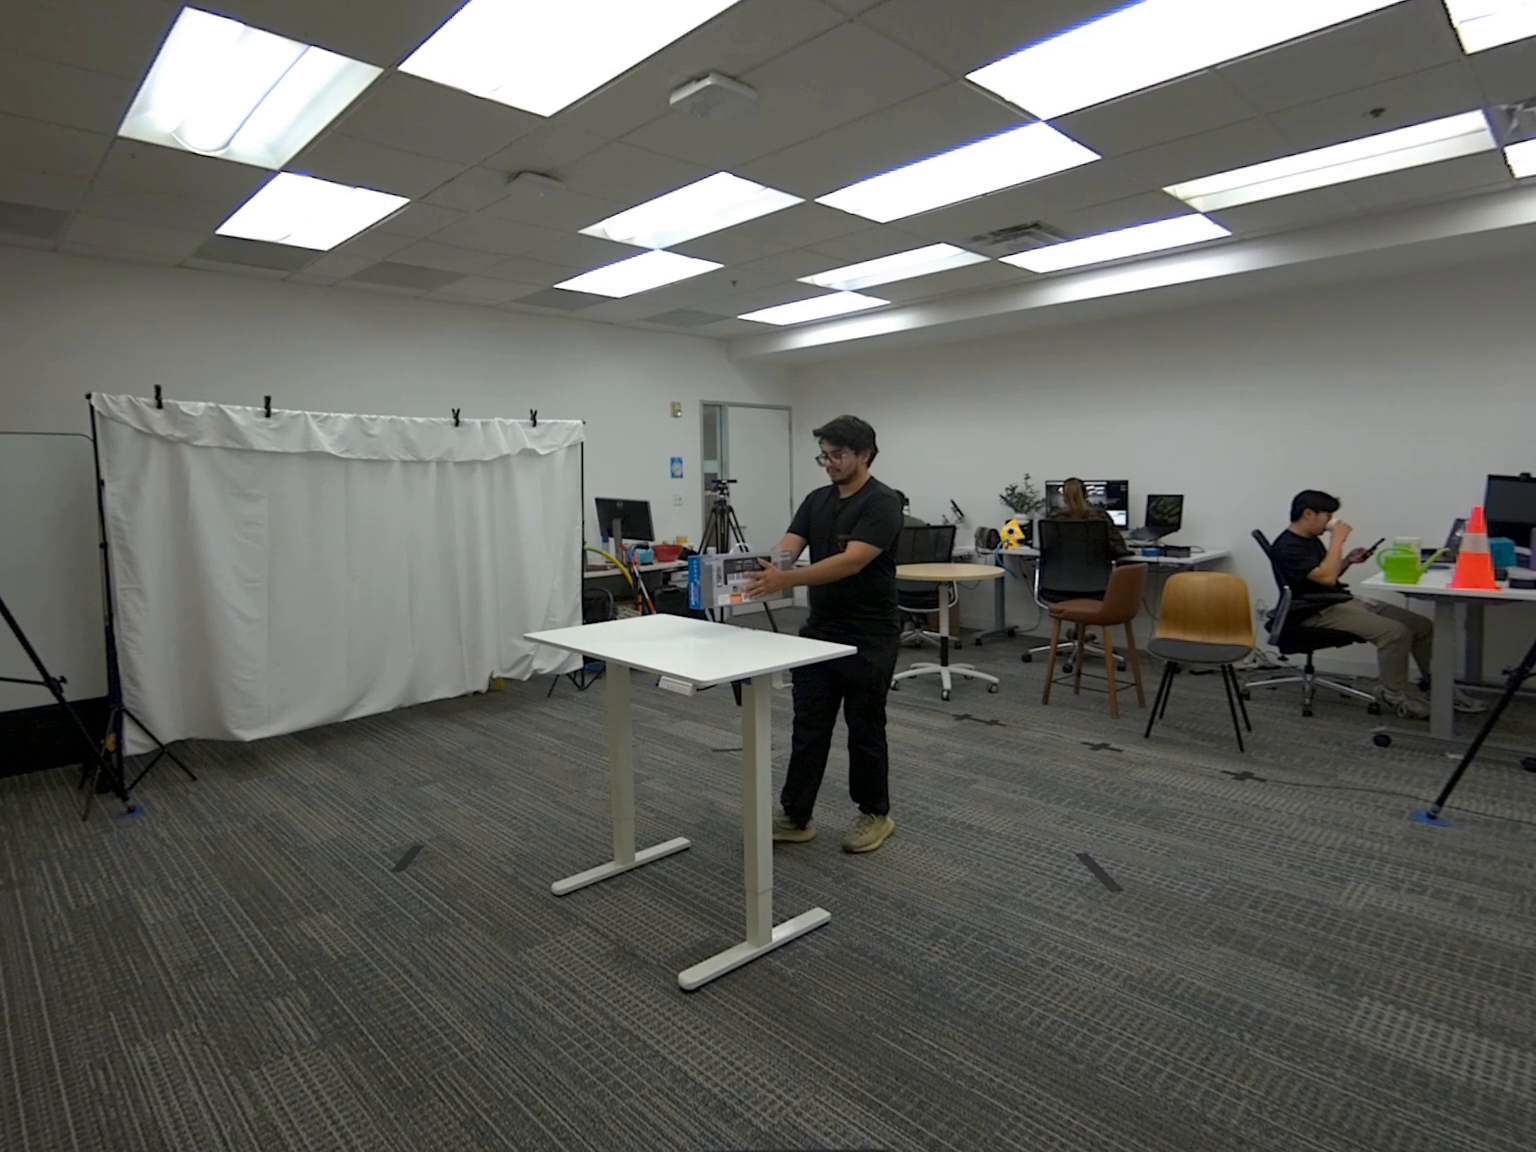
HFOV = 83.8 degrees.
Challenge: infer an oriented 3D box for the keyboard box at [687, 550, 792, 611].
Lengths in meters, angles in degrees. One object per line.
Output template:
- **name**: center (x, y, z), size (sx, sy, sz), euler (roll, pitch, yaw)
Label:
- **keyboard box**: center (-0.089, 0.012, 2.916), size (0.425, 0.176, 0.061), euler (-4, 3, -44)
